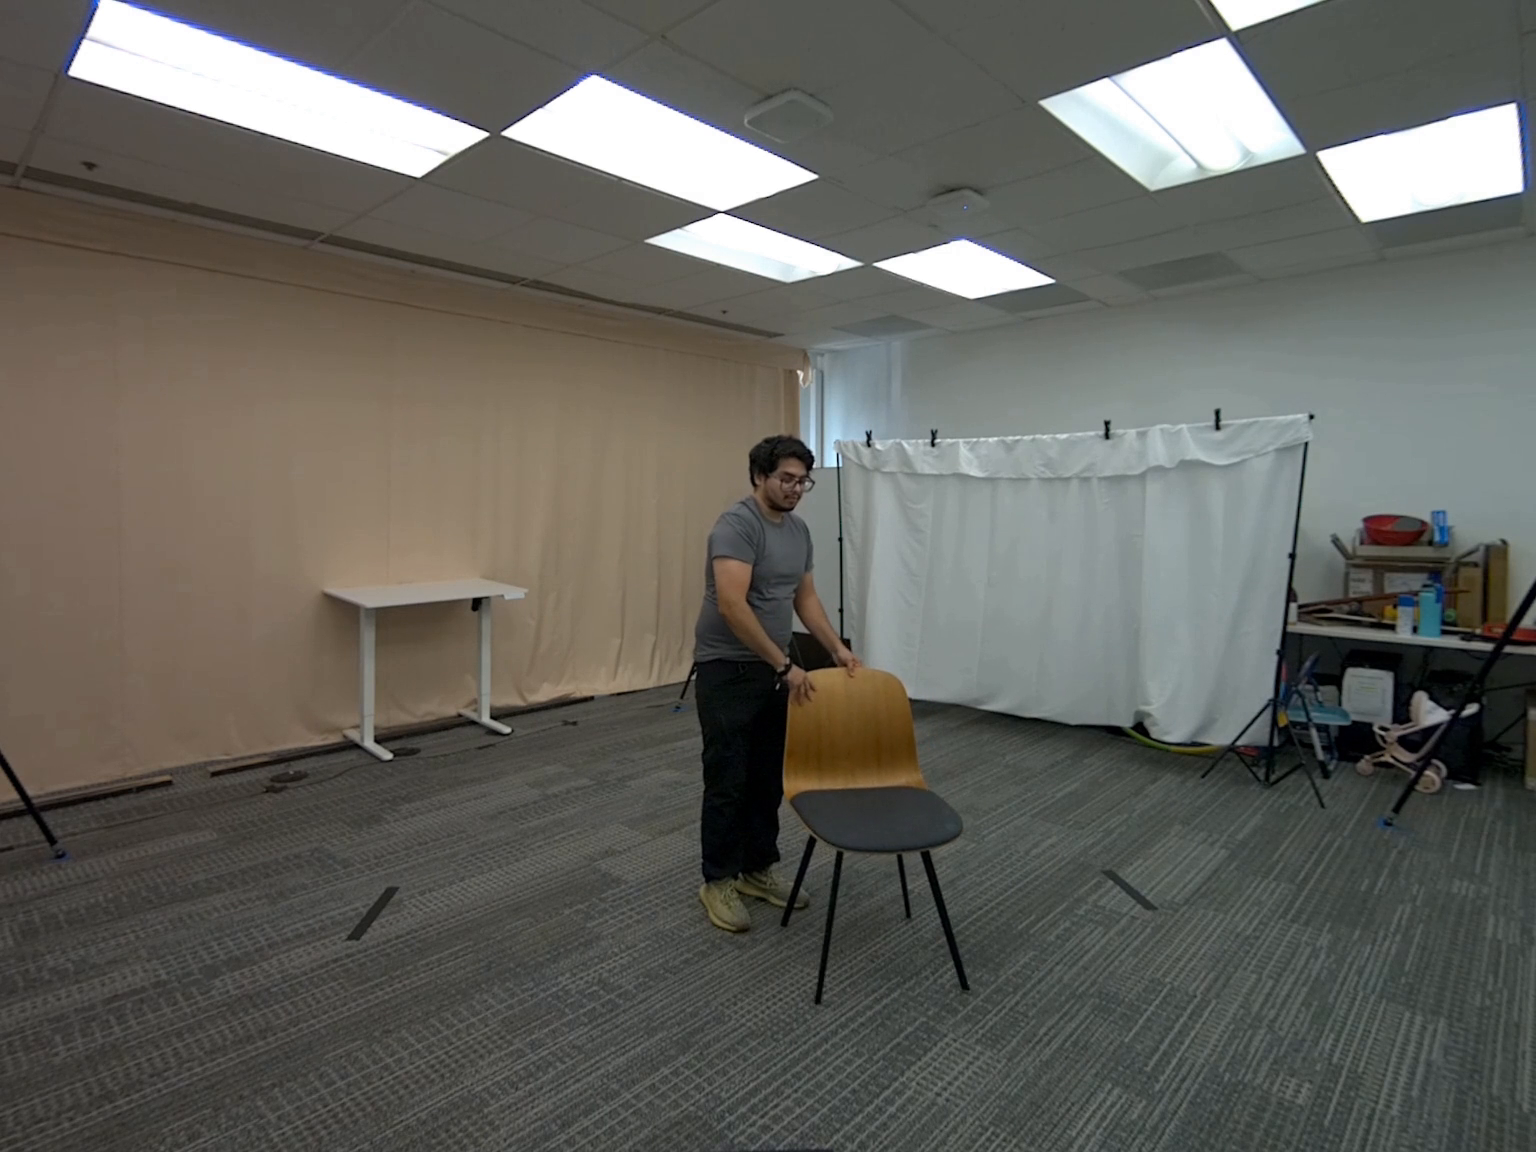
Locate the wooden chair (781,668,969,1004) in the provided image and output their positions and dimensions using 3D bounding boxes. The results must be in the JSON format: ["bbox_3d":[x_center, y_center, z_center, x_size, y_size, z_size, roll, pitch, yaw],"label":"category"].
[{"bbox_3d":[0.315,0.748,2.565,0.473,0.878,0.528,0,-1,-10],"label":"wooden chair"}]
